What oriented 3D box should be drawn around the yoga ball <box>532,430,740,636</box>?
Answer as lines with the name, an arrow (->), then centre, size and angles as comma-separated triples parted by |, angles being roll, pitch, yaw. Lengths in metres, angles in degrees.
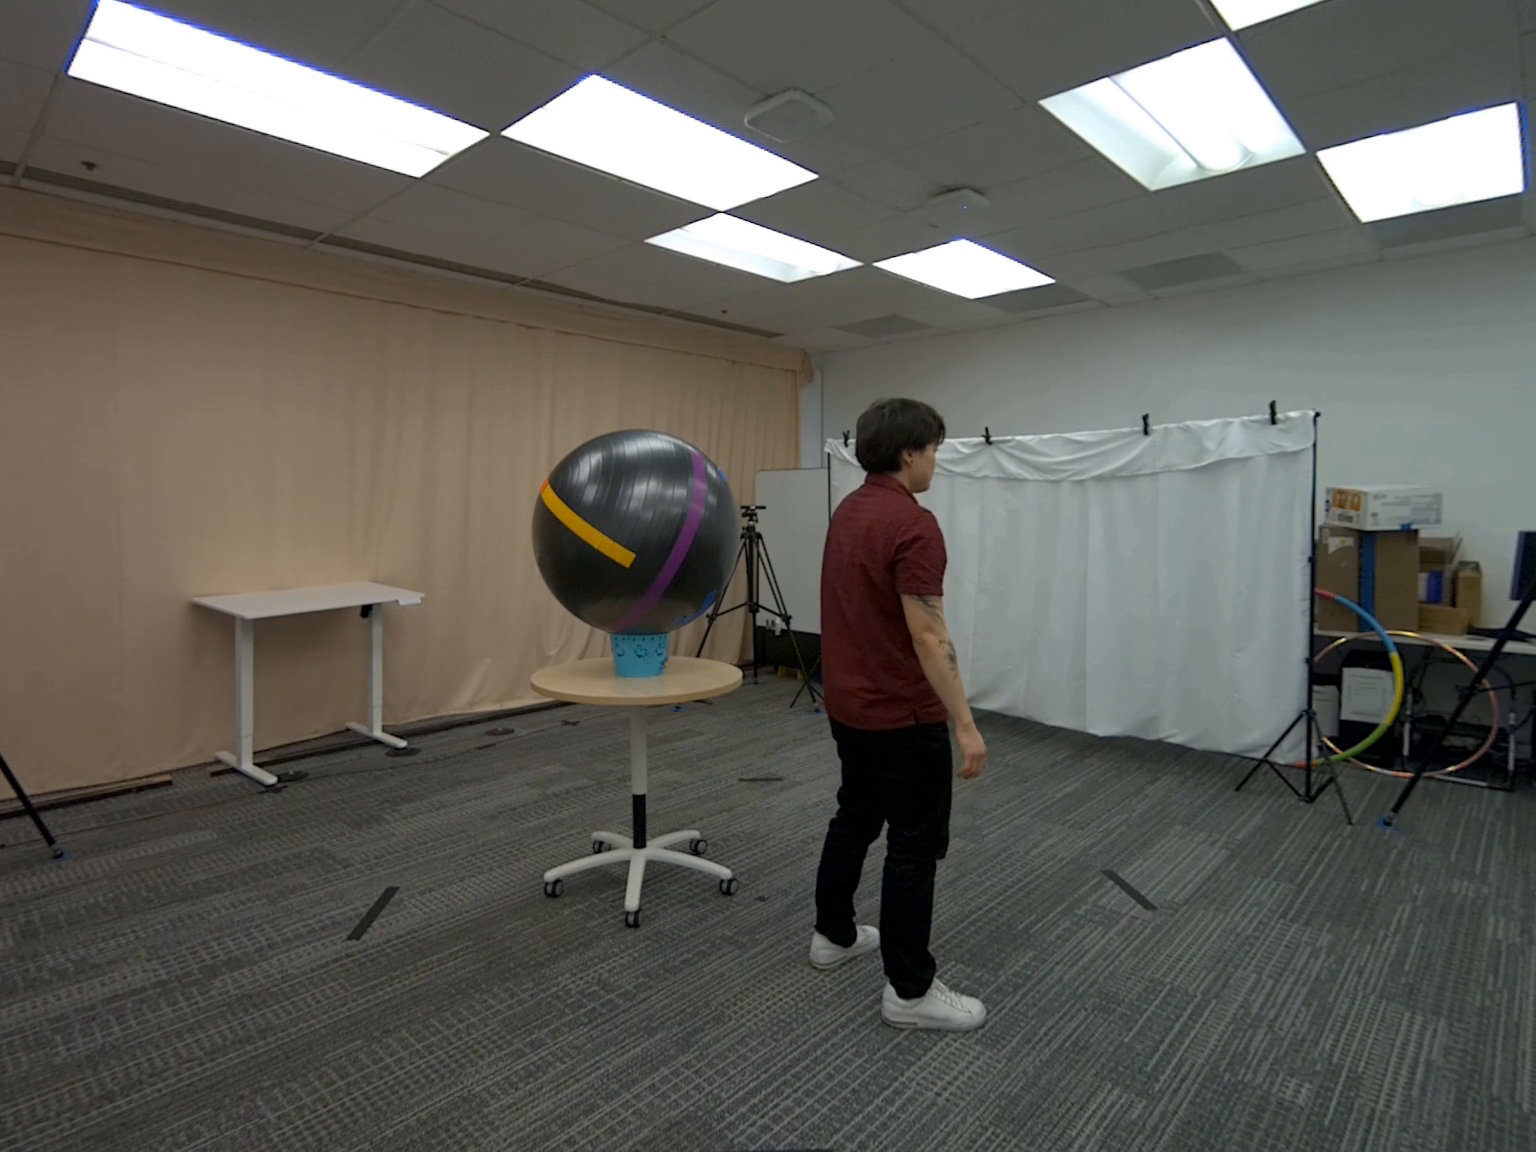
yoga ball -> -0.480, -0.151, 3.091 | 0.757, 0.756, 0.761 | 0, 4, -2
